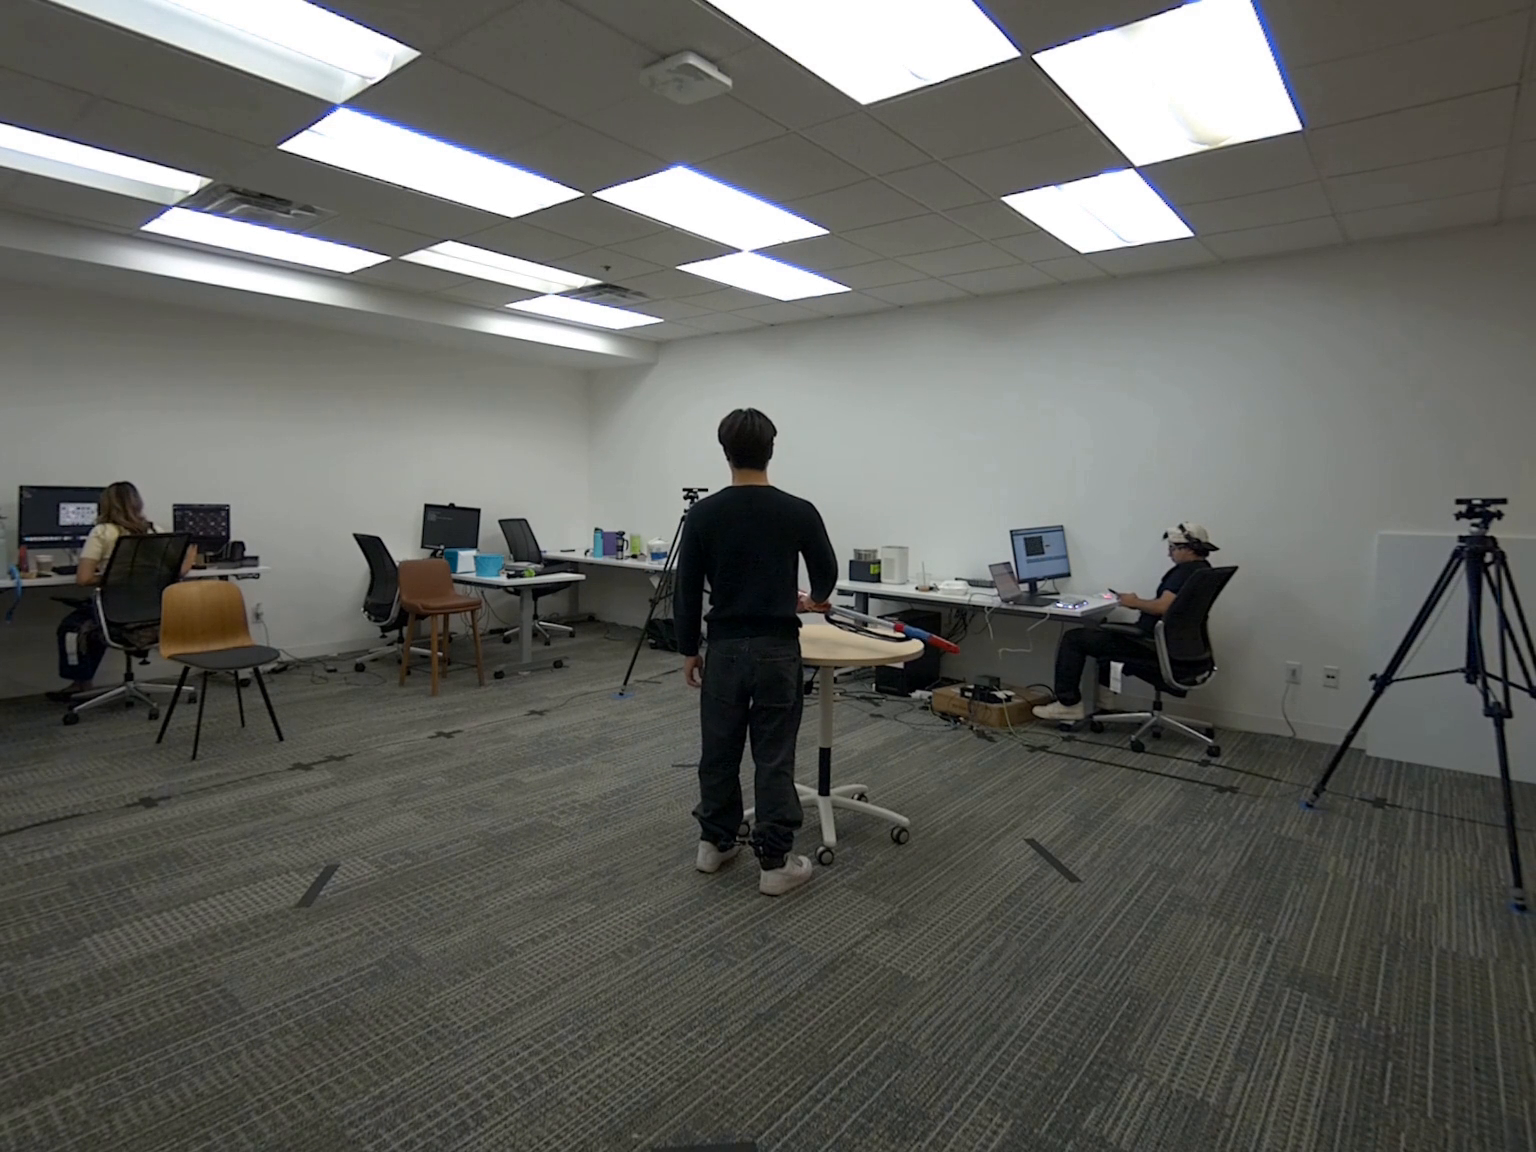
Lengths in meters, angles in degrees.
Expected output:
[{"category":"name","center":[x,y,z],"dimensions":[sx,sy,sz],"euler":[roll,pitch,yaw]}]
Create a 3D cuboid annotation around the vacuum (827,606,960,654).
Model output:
[{"category":"vacuum","center":[0.267,0.153,3.388],"dimensions":[1.090,0.254,0.138],"euler":[16,-16,39]}]
